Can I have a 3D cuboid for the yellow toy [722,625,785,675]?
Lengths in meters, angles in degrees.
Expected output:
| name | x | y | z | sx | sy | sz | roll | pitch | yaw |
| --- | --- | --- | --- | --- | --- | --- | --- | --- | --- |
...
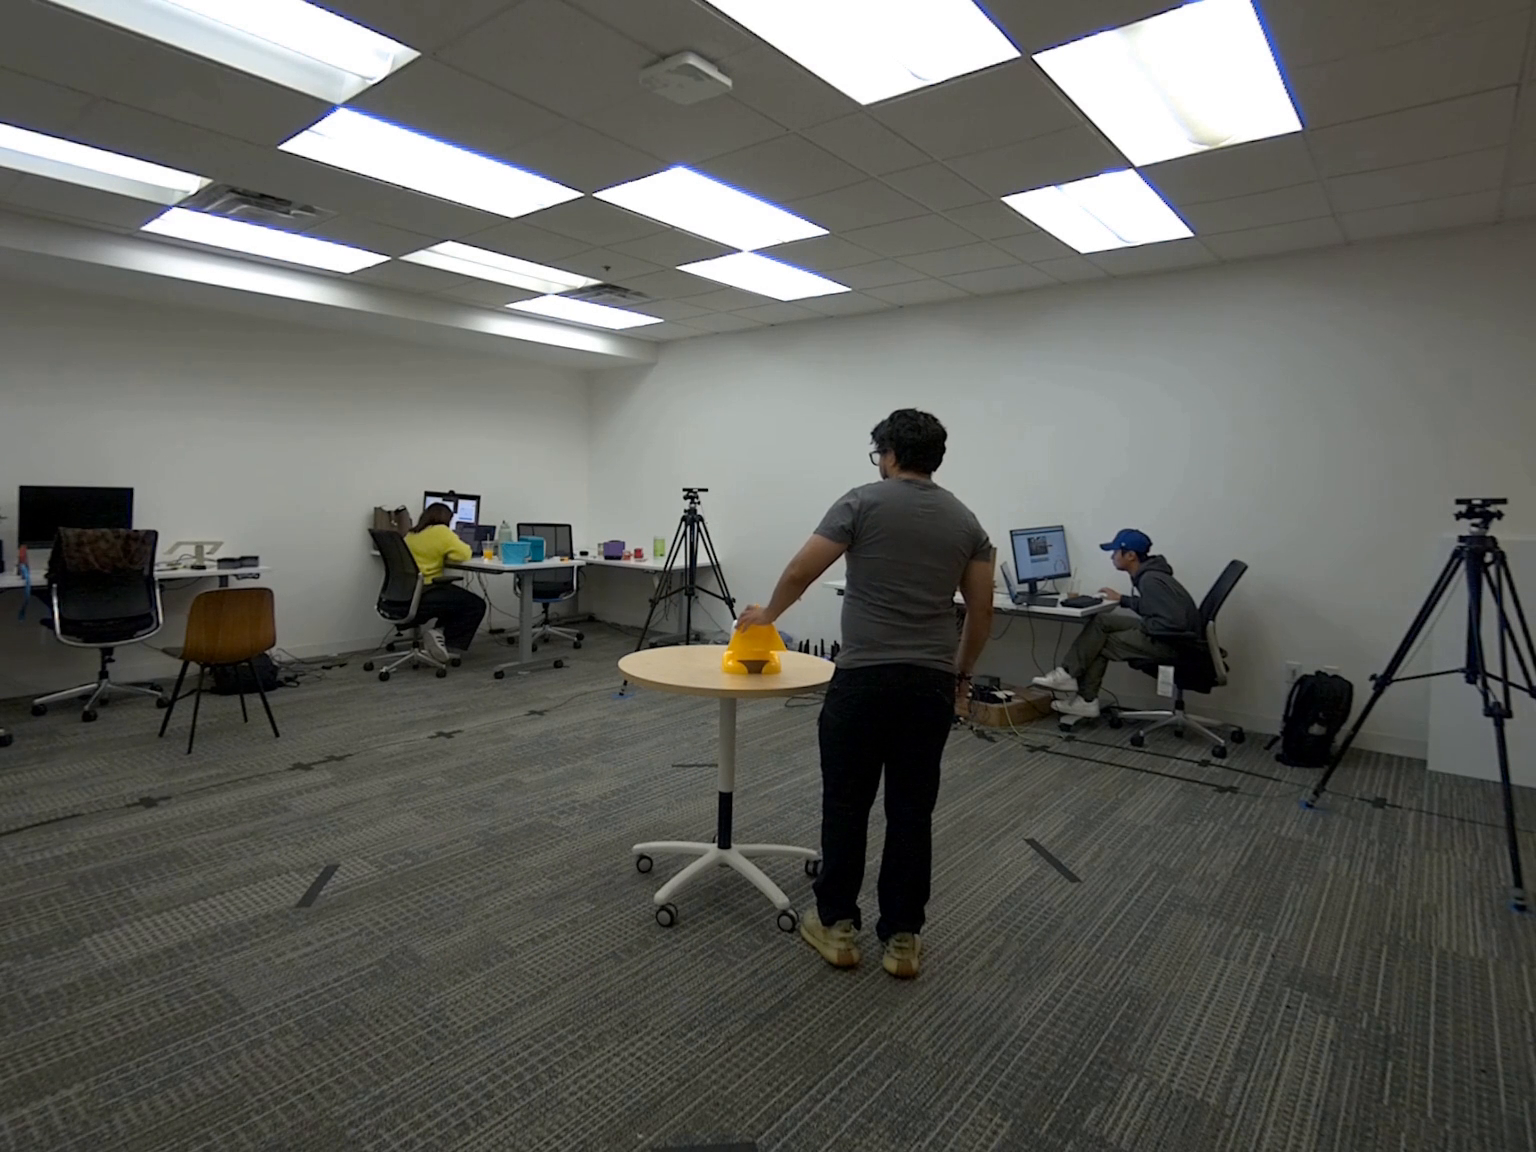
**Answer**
| name | x | y | z | sx | sy | sz | roll | pitch | yaw |
| --- | --- | --- | --- | --- | --- | --- | --- | --- | --- |
| yellow toy | -0.065 | 0.198 | 2.870 | 0.202 | 0.230 | 0.196 | 0 | 4 | -11 |
